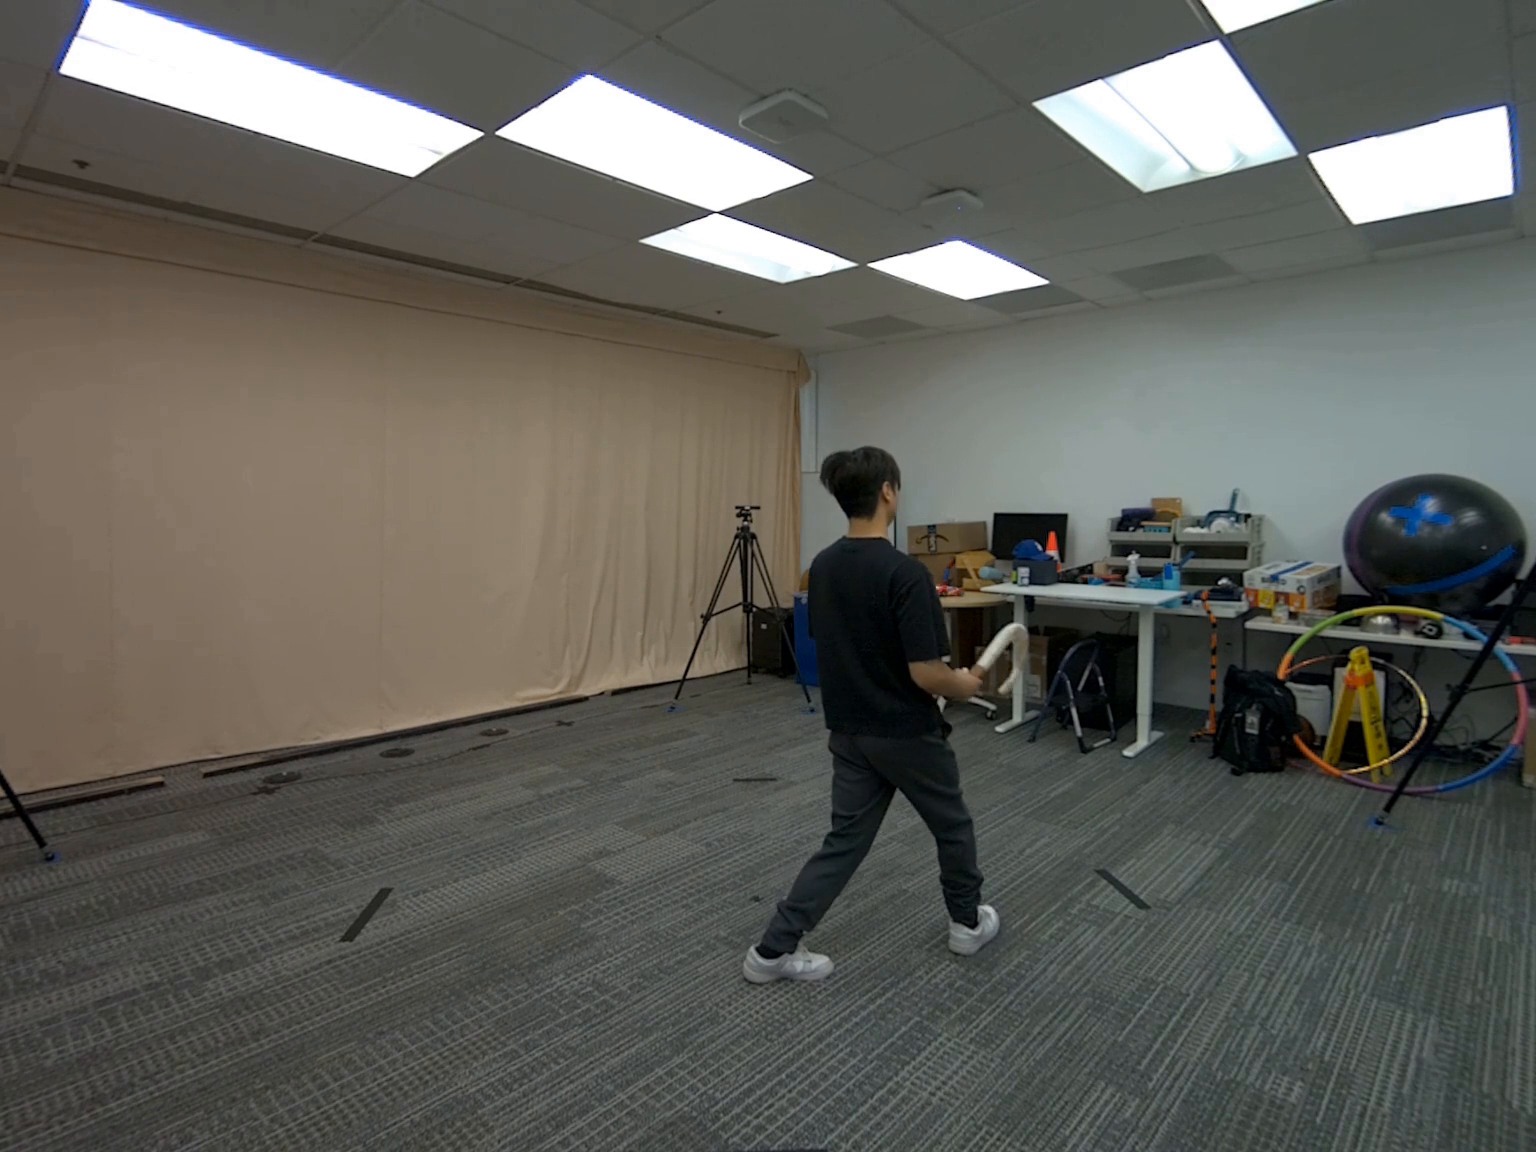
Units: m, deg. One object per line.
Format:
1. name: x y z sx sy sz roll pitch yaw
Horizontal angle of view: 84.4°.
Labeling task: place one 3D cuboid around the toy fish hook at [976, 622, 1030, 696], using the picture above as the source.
1. toy fish hook: 0.713 0.325 2.665 0.050 0.221 0.496 5 24 46
